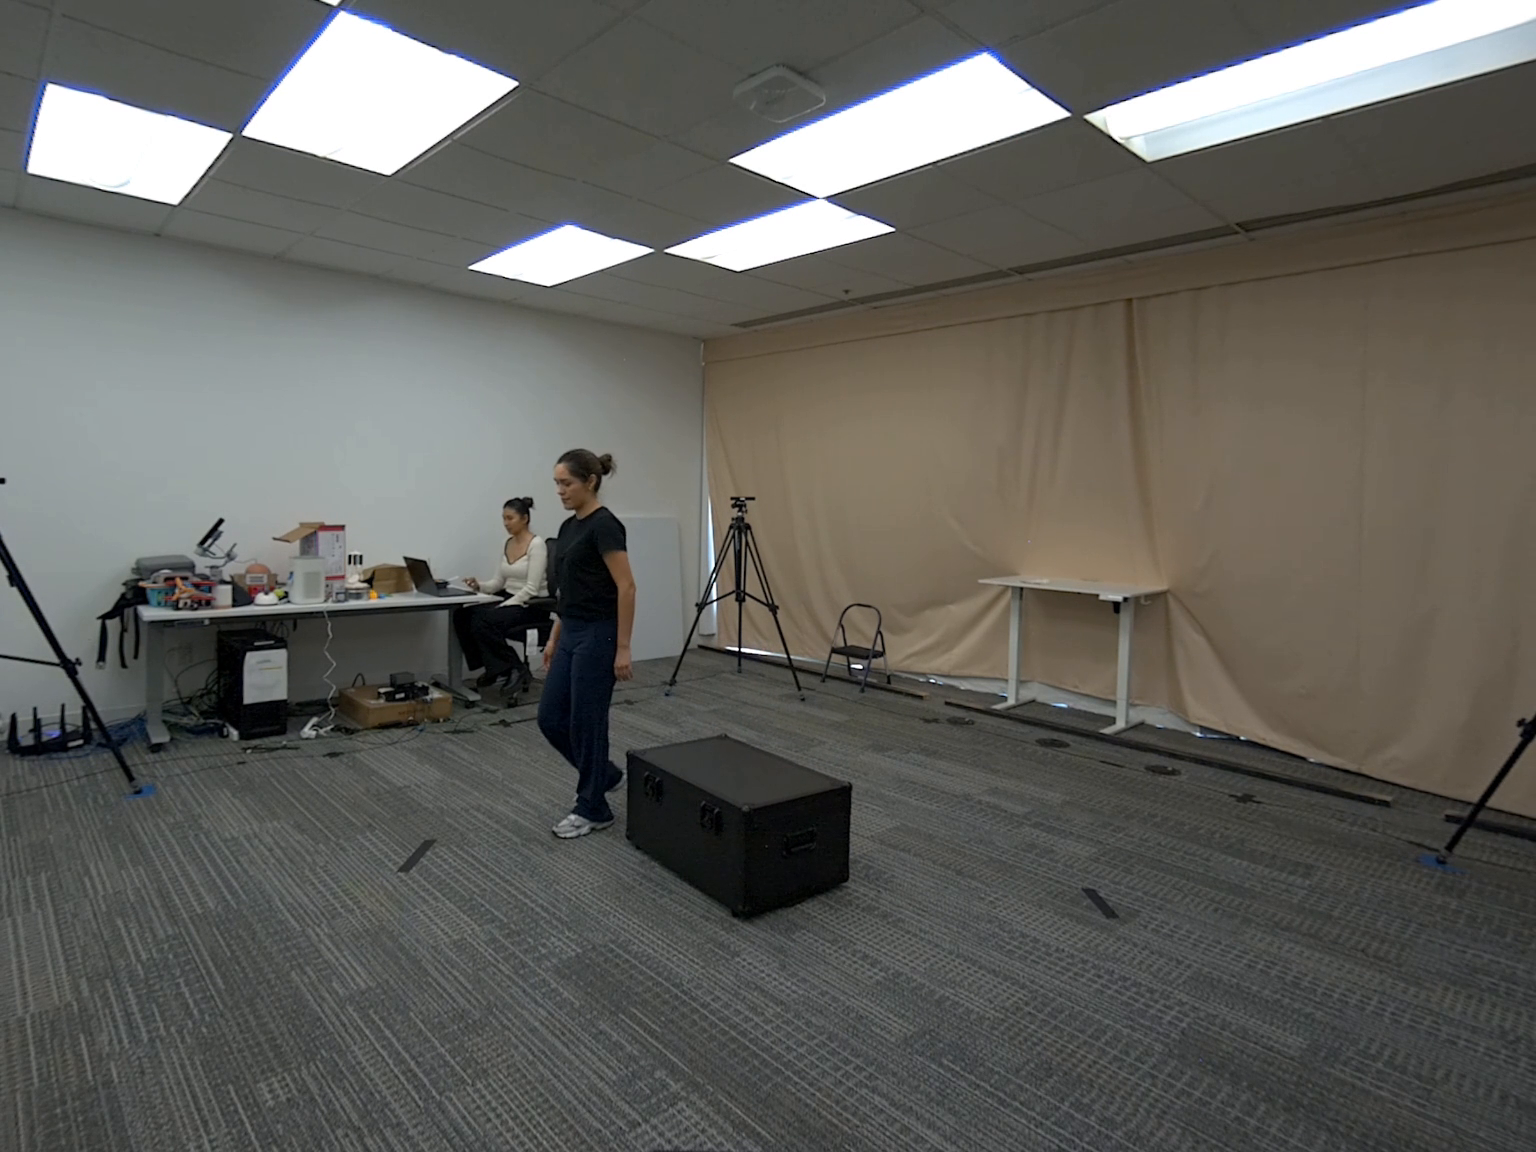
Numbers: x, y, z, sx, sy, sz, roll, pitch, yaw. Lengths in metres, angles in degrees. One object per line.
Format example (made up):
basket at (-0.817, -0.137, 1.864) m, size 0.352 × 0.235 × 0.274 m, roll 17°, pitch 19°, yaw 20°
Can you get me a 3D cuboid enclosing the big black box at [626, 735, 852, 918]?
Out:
big black box at (-0.122, 0.915, 3.152) m, size 0.510 × 0.395 × 0.883 m, roll -2°, pitch 5°, yaw -38°
